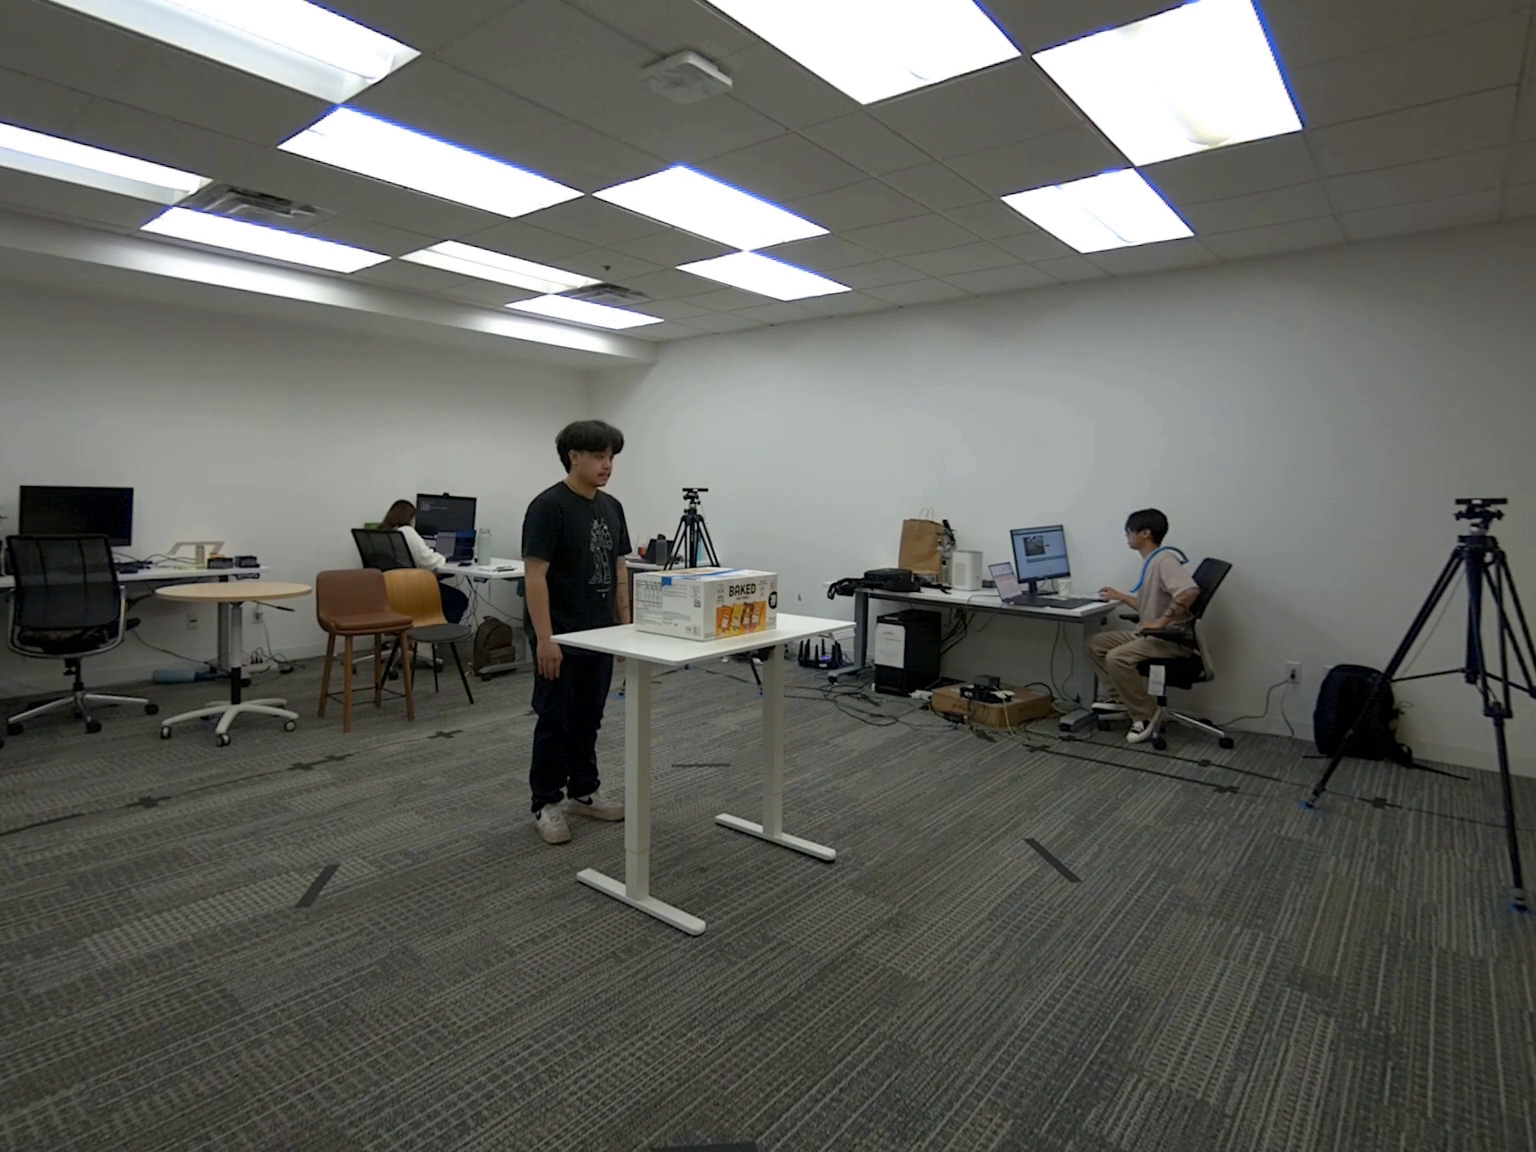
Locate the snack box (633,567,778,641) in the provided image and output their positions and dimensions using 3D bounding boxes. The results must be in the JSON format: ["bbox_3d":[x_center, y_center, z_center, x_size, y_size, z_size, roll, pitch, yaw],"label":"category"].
[{"bbox_3d":[-0.232,0.089,3.058,0.351,0.205,0.393,4,6,39],"label":"snack box"}]
